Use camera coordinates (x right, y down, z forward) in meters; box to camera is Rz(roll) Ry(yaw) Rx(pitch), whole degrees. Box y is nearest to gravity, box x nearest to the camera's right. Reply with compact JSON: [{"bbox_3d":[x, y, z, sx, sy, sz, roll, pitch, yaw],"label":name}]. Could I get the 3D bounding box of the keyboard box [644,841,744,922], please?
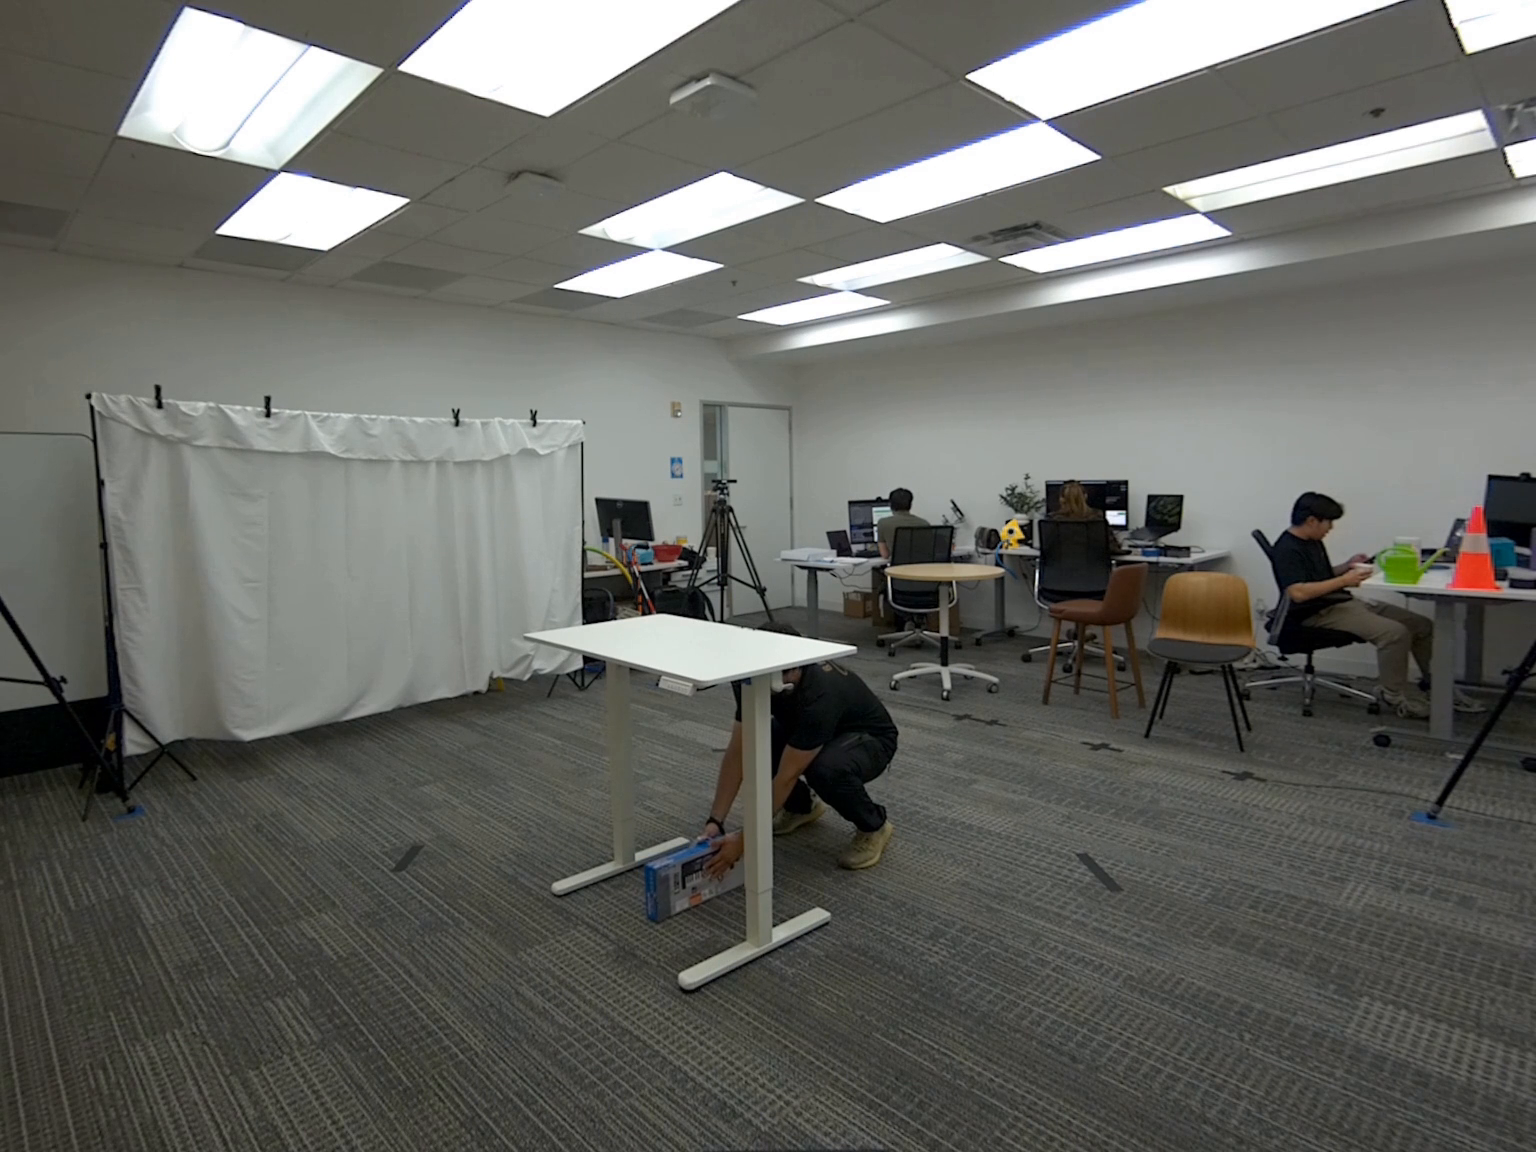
[{"bbox_3d":[-0.217,0.992,2.857,0.425,0.175,0.061,-6,5,-42],"label":"keyboard box"}]
